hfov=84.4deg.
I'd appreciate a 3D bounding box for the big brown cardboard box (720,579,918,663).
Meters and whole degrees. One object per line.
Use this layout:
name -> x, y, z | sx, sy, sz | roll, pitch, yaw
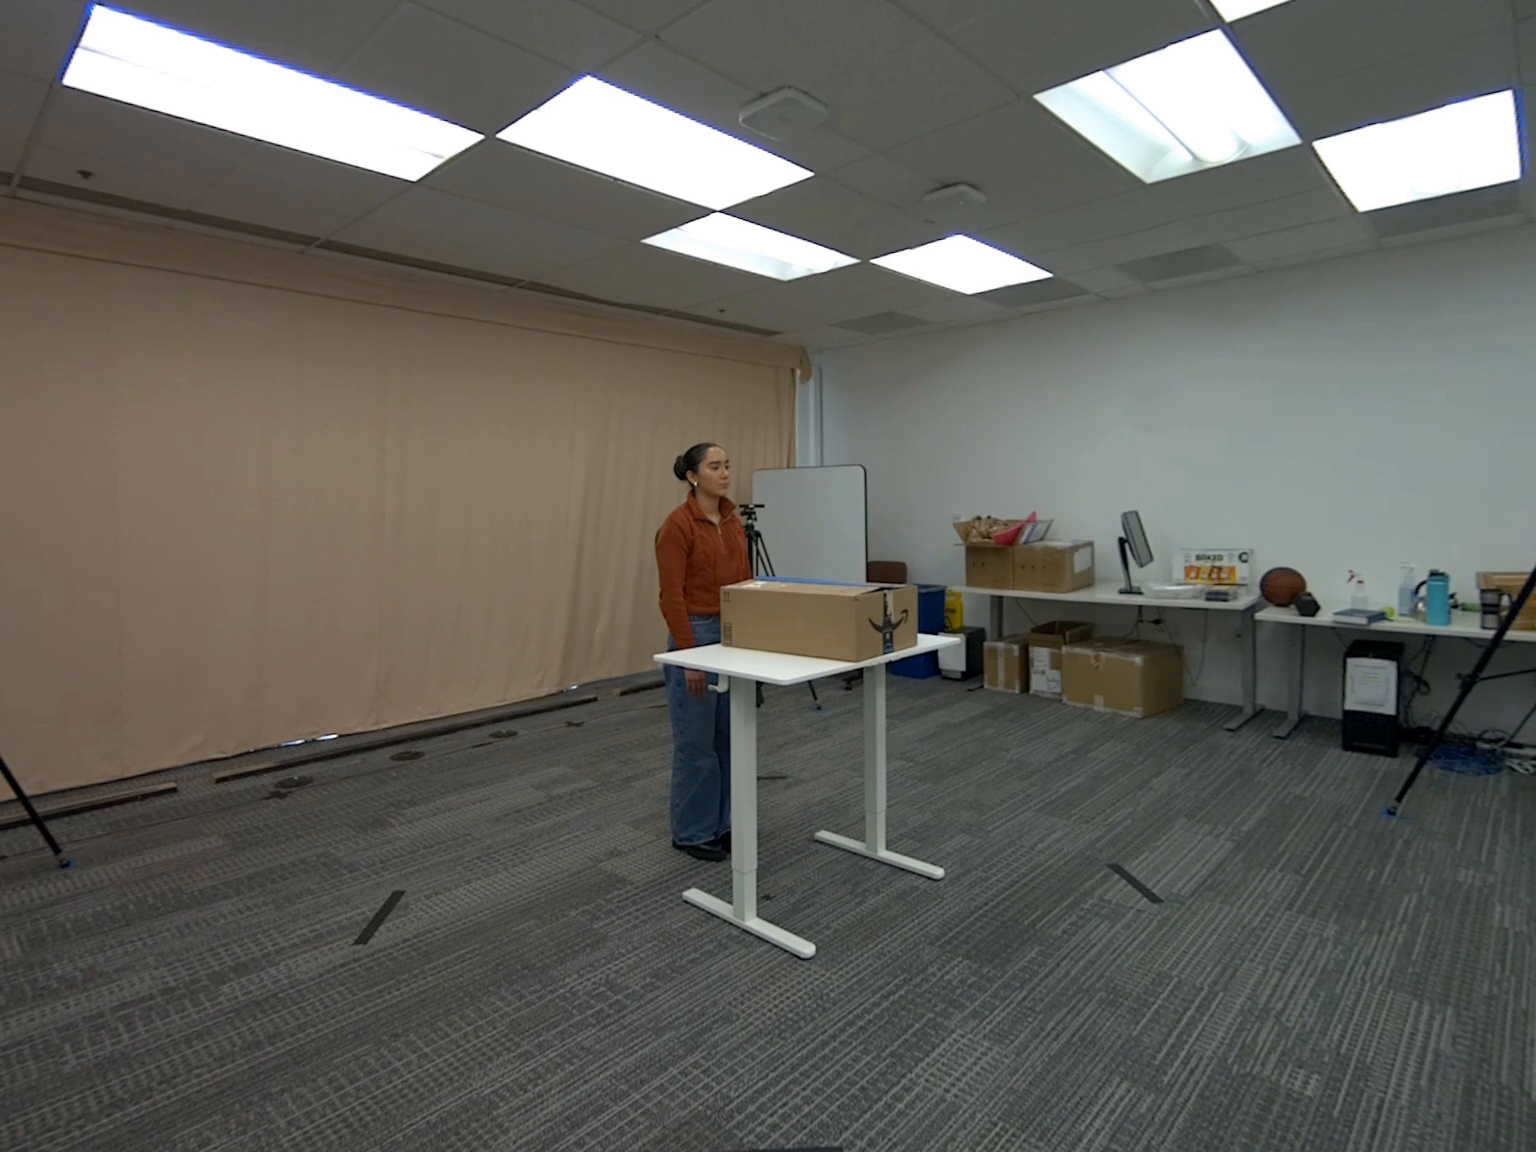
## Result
big brown cardboard box -> 0.182, 0.141, 3.020 | 0.608, 0.232, 0.405 | 4, 6, 38
